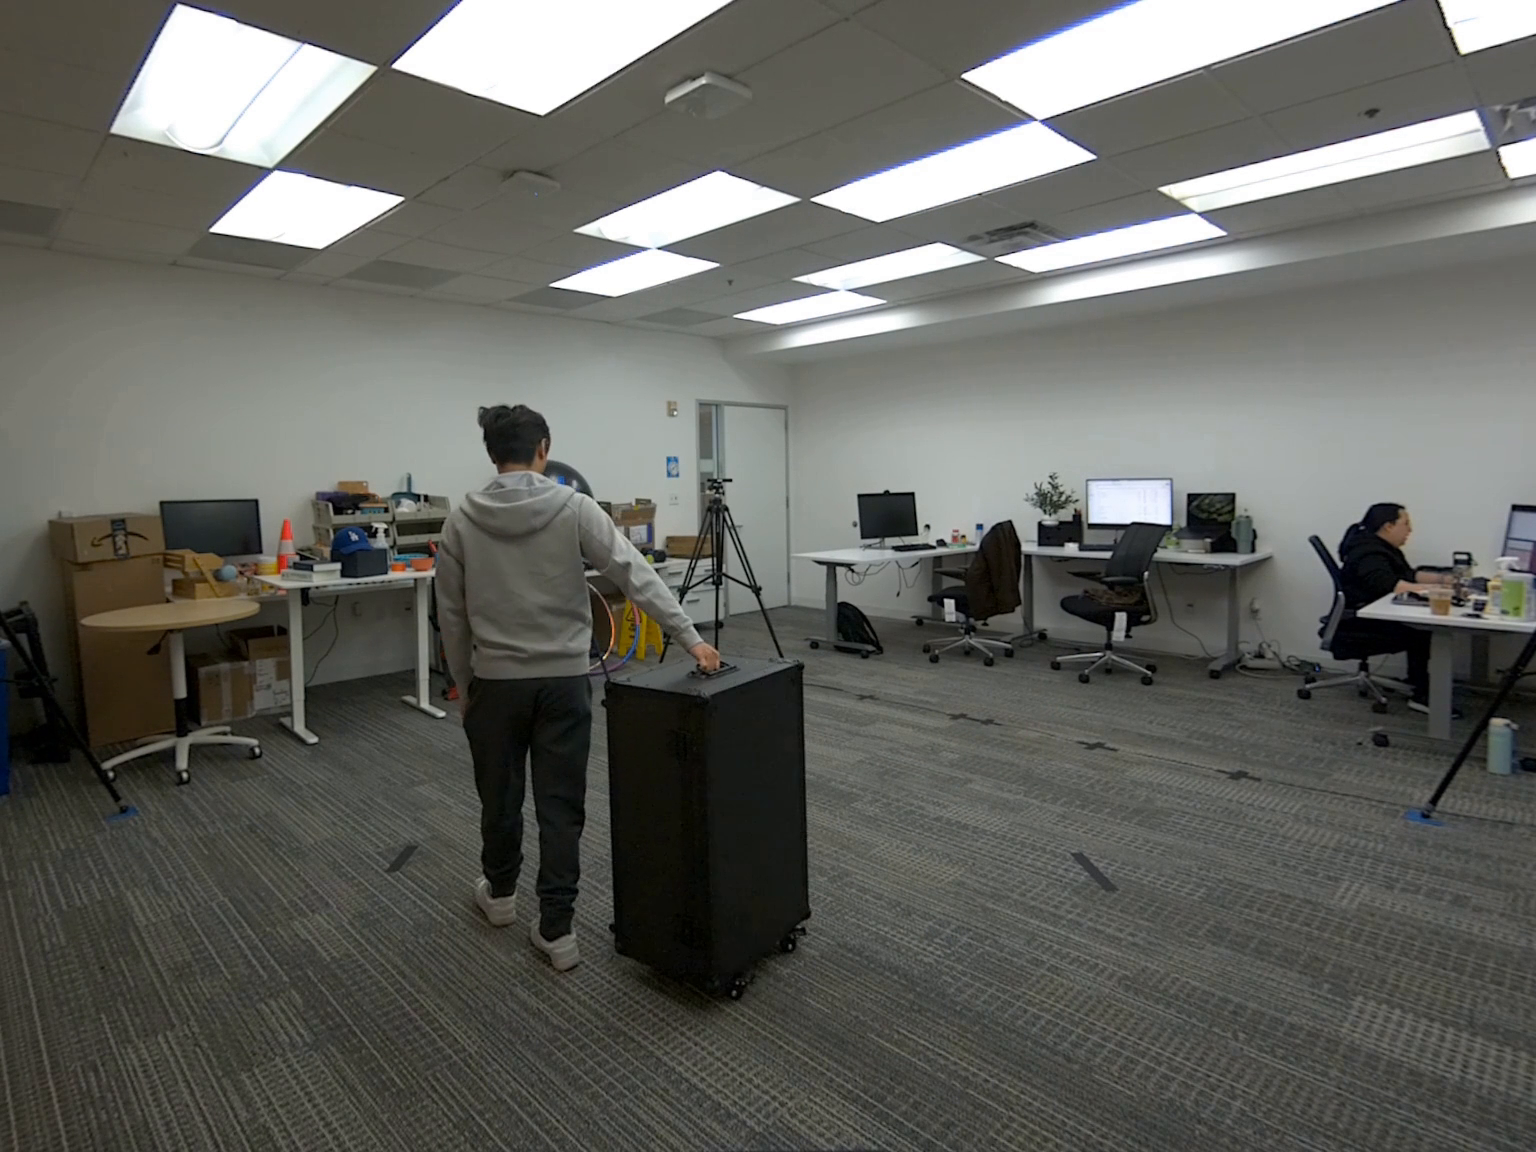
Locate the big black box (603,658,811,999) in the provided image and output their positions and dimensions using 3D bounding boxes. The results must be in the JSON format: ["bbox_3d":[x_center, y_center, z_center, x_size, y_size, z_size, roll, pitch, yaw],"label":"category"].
[{"bbox_3d":[-0.170,0.696,2.485,0.407,0.859,0.508,0,4,37],"label":"big black box"}]
